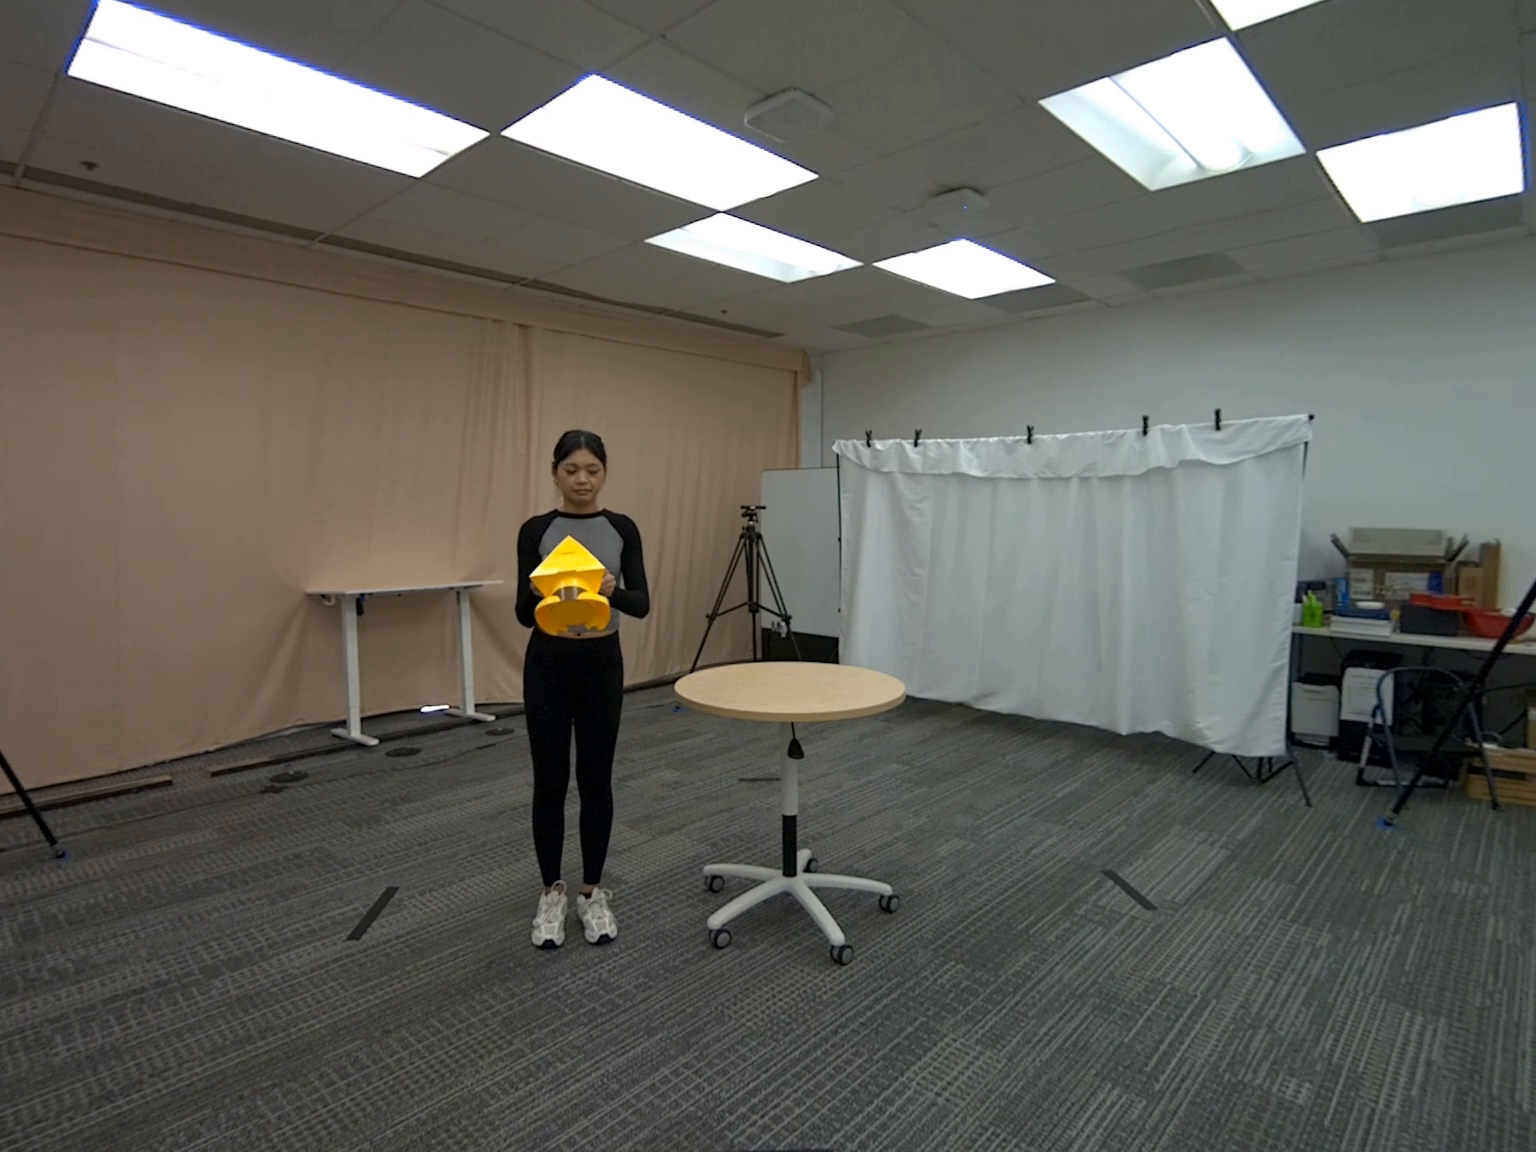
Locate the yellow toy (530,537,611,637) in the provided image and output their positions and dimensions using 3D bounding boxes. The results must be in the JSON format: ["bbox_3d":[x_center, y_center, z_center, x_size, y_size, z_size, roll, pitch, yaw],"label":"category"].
[{"bbox_3d":[-0.548,0.014,2.371,0.204,0.236,0.189,-8,-37,-6],"label":"yellow toy"}]
